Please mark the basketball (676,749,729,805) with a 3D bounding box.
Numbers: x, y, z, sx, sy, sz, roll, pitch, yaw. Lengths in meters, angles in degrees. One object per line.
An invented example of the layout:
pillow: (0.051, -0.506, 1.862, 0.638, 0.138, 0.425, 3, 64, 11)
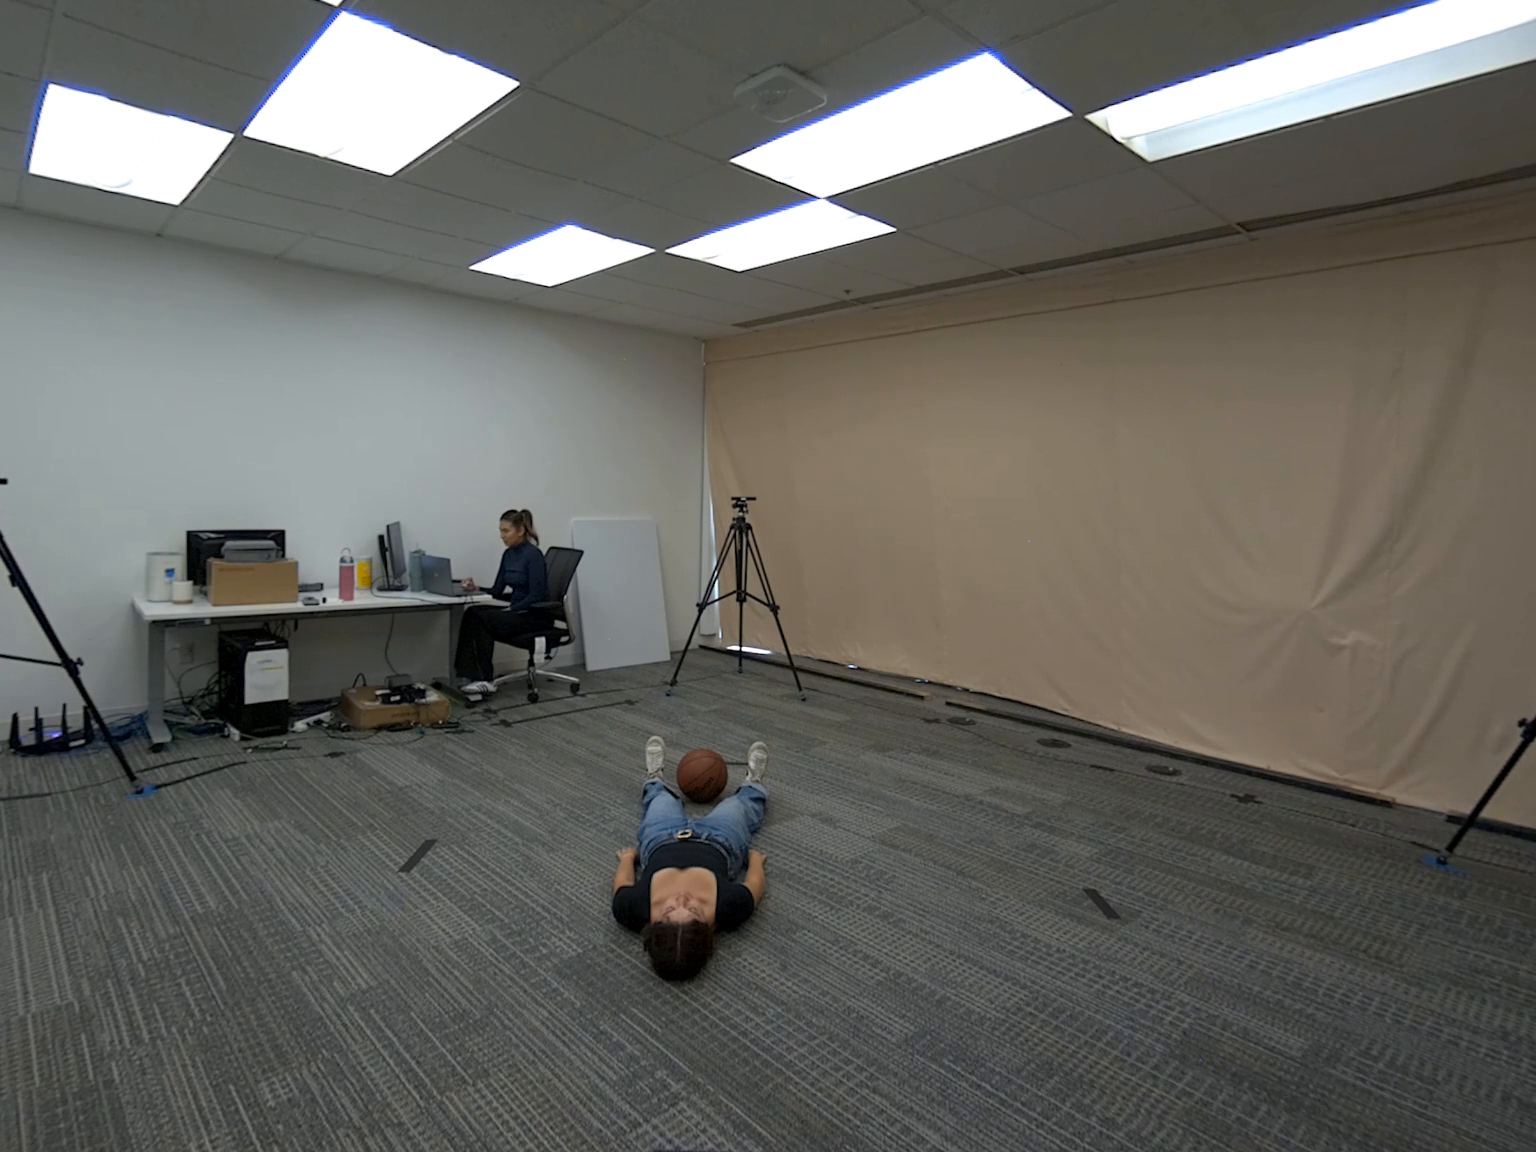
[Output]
basketball: (-0.311, 0.912, 3.876, 0.236, 0.235, 0.237, 1, 4, -1)
